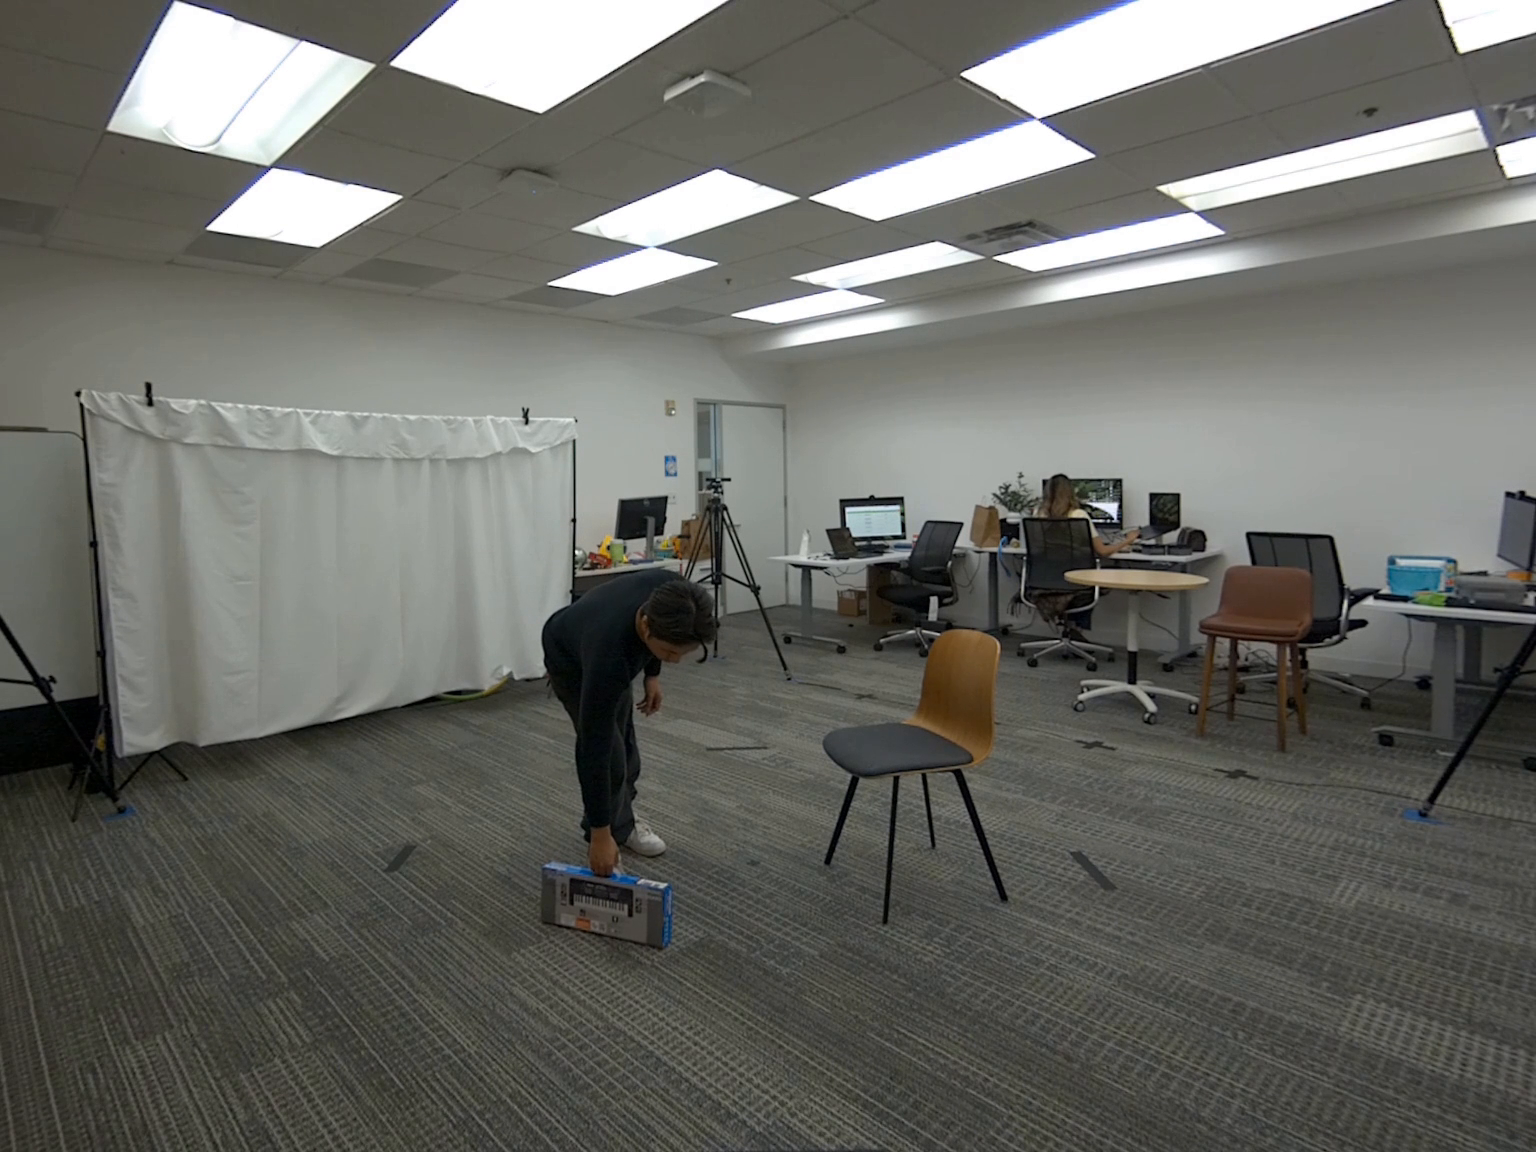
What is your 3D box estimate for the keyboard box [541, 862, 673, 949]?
[{"bbox_3d":[-0.503,1.015,2.652,0.445,0.176,0.058,0,-2,21],"label":"keyboard box"}]
